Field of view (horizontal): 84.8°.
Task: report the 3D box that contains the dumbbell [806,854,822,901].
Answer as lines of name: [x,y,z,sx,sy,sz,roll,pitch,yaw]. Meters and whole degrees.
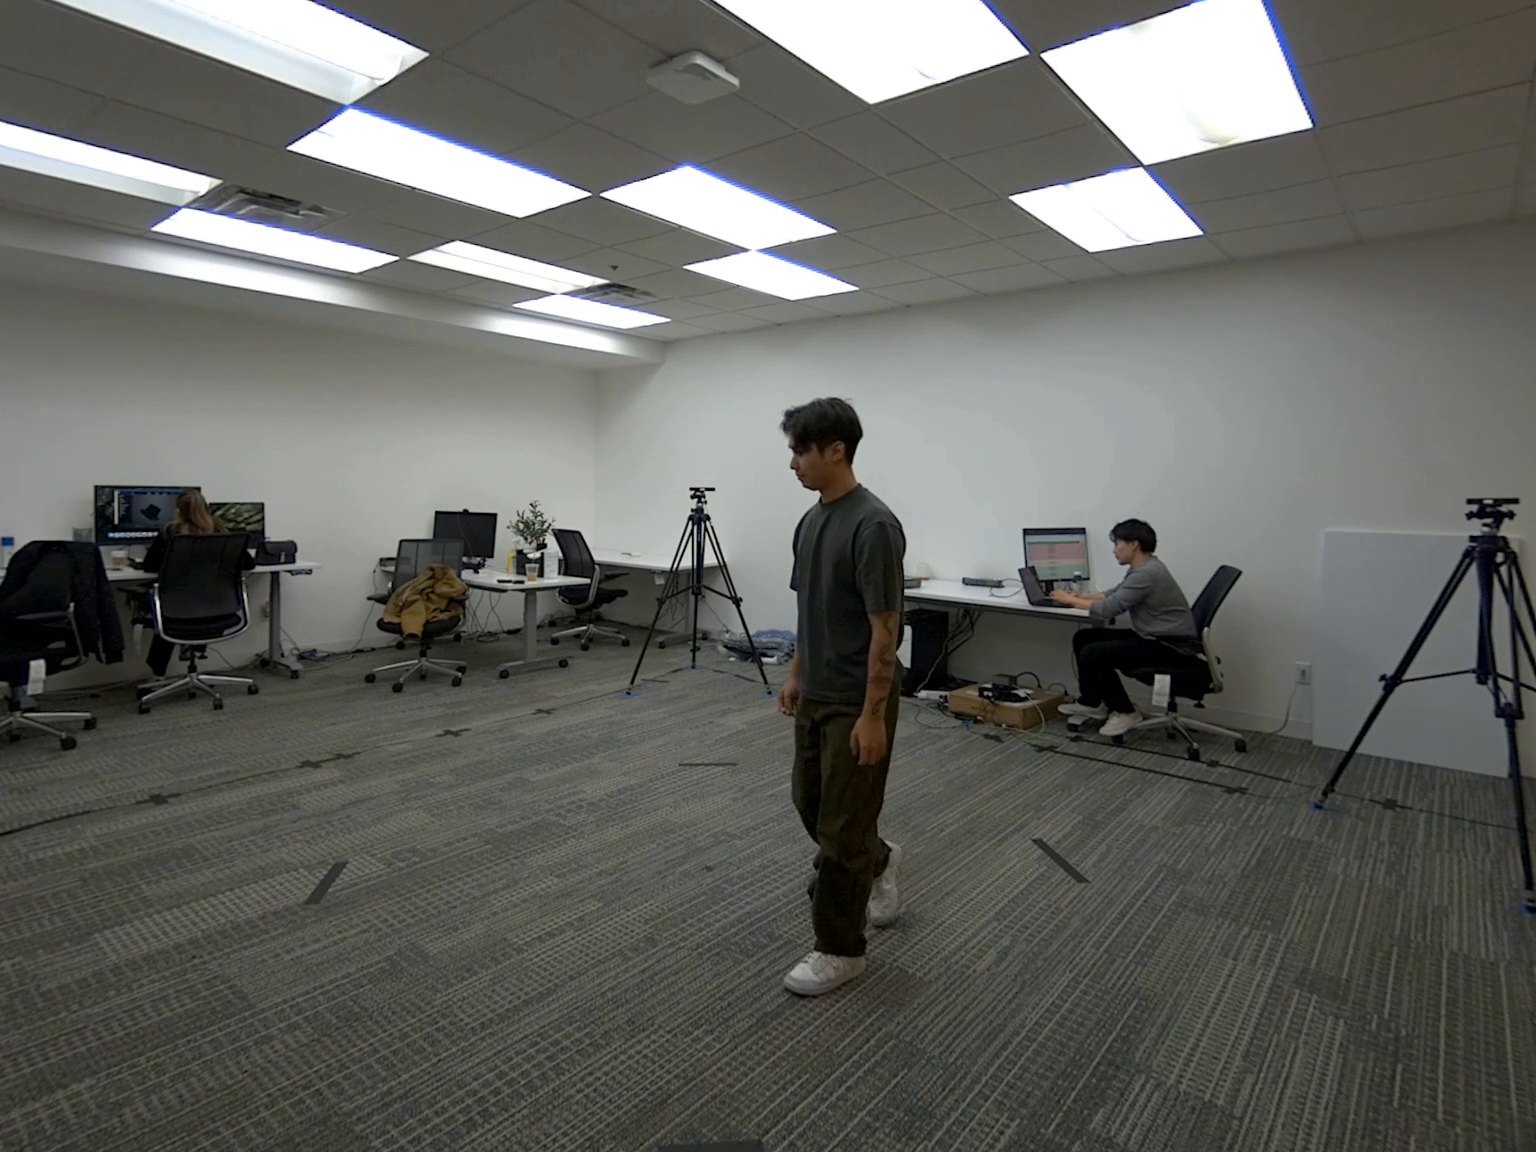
dumbbell: [0.203,1.030,2.949,0.124,0.108,0.291,0,4,9]
